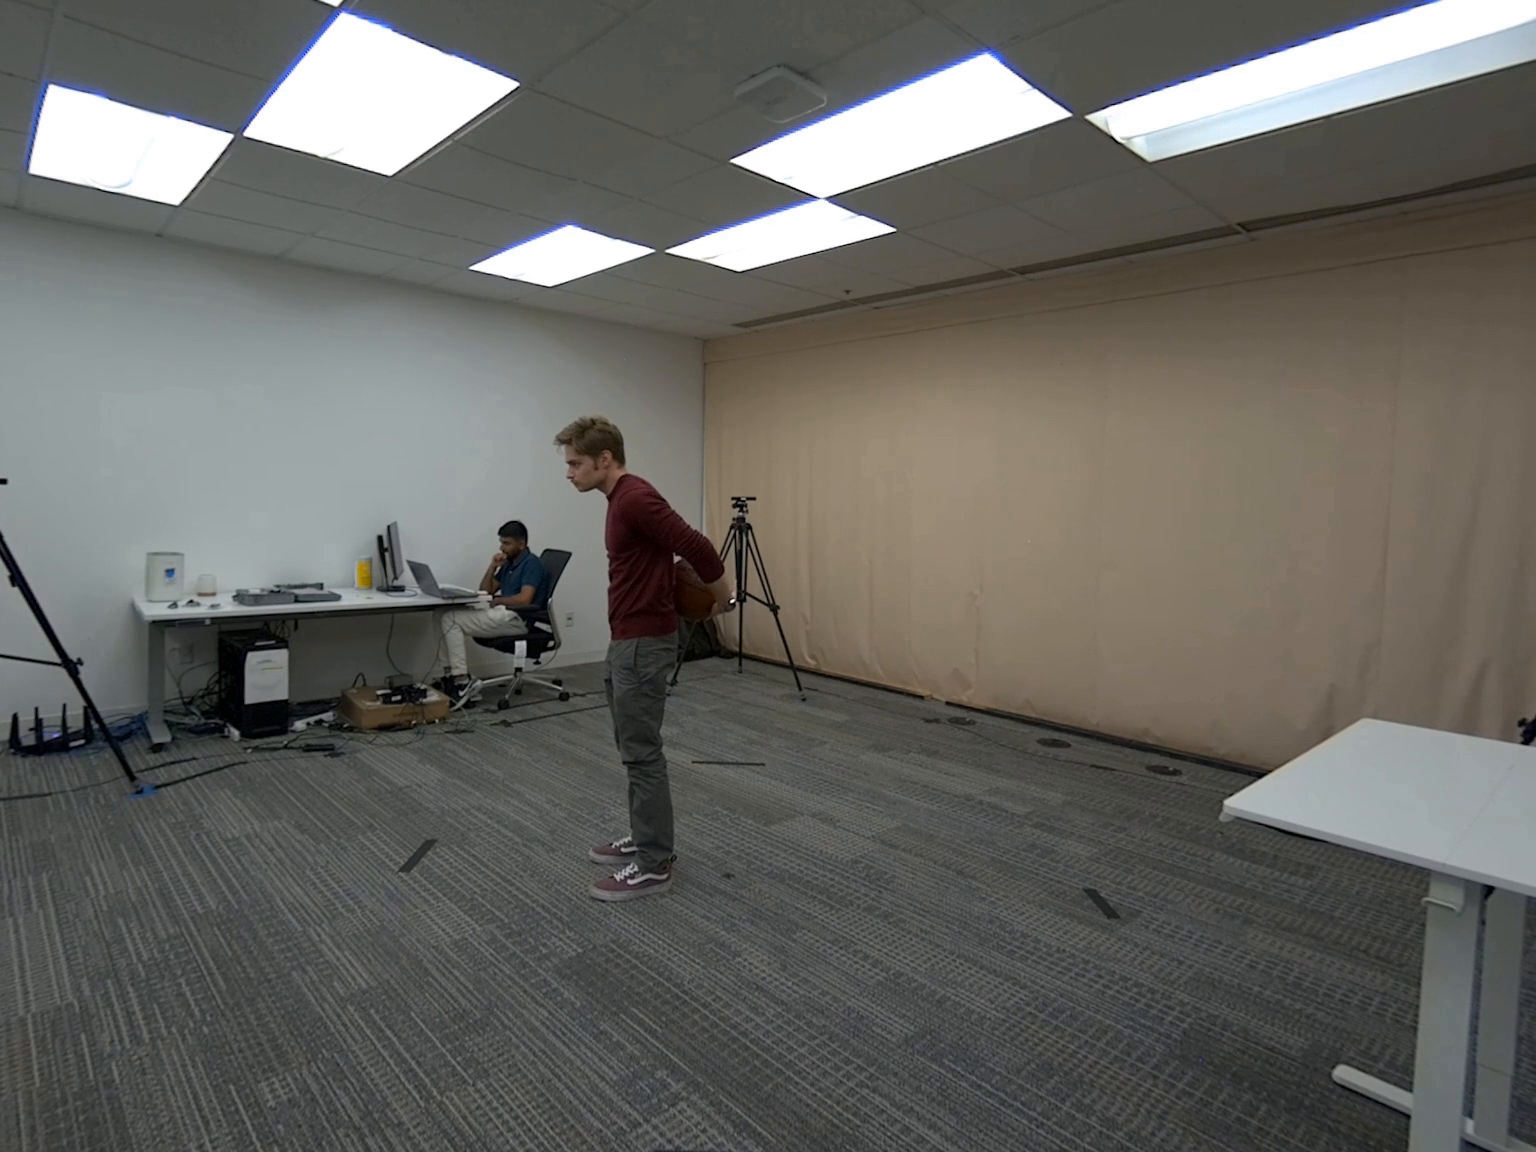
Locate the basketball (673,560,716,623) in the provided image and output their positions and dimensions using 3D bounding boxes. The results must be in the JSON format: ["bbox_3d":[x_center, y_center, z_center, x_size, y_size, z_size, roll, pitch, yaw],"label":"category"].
[{"bbox_3d":[-0.279,0.043,3.142,0.236,0.235,0.237,1,4,-1],"label":"basketball"}]
